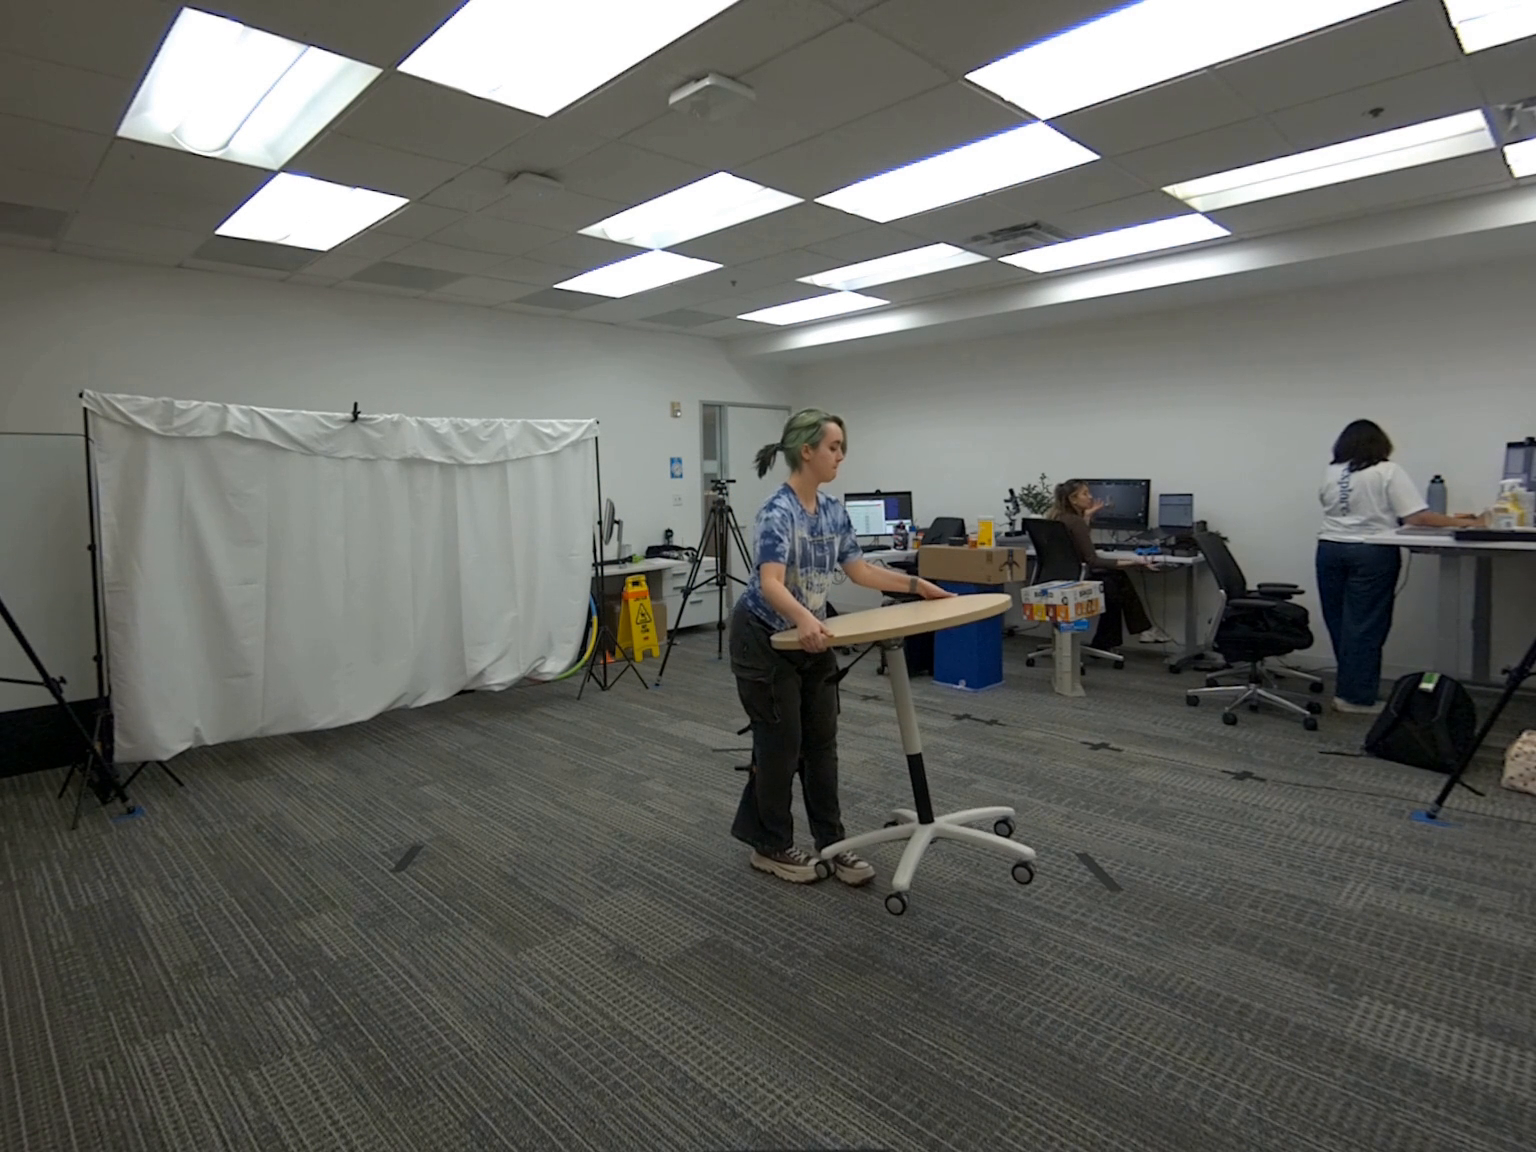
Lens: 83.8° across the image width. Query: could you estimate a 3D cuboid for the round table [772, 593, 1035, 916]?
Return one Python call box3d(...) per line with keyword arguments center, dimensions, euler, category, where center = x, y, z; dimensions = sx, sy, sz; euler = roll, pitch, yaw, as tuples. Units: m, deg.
box3d(center=(0.468, 0.535, 2.716), dimensions=(0.763, 0.795, 0.764), euler=(-10, 0, -2), category="round table")
